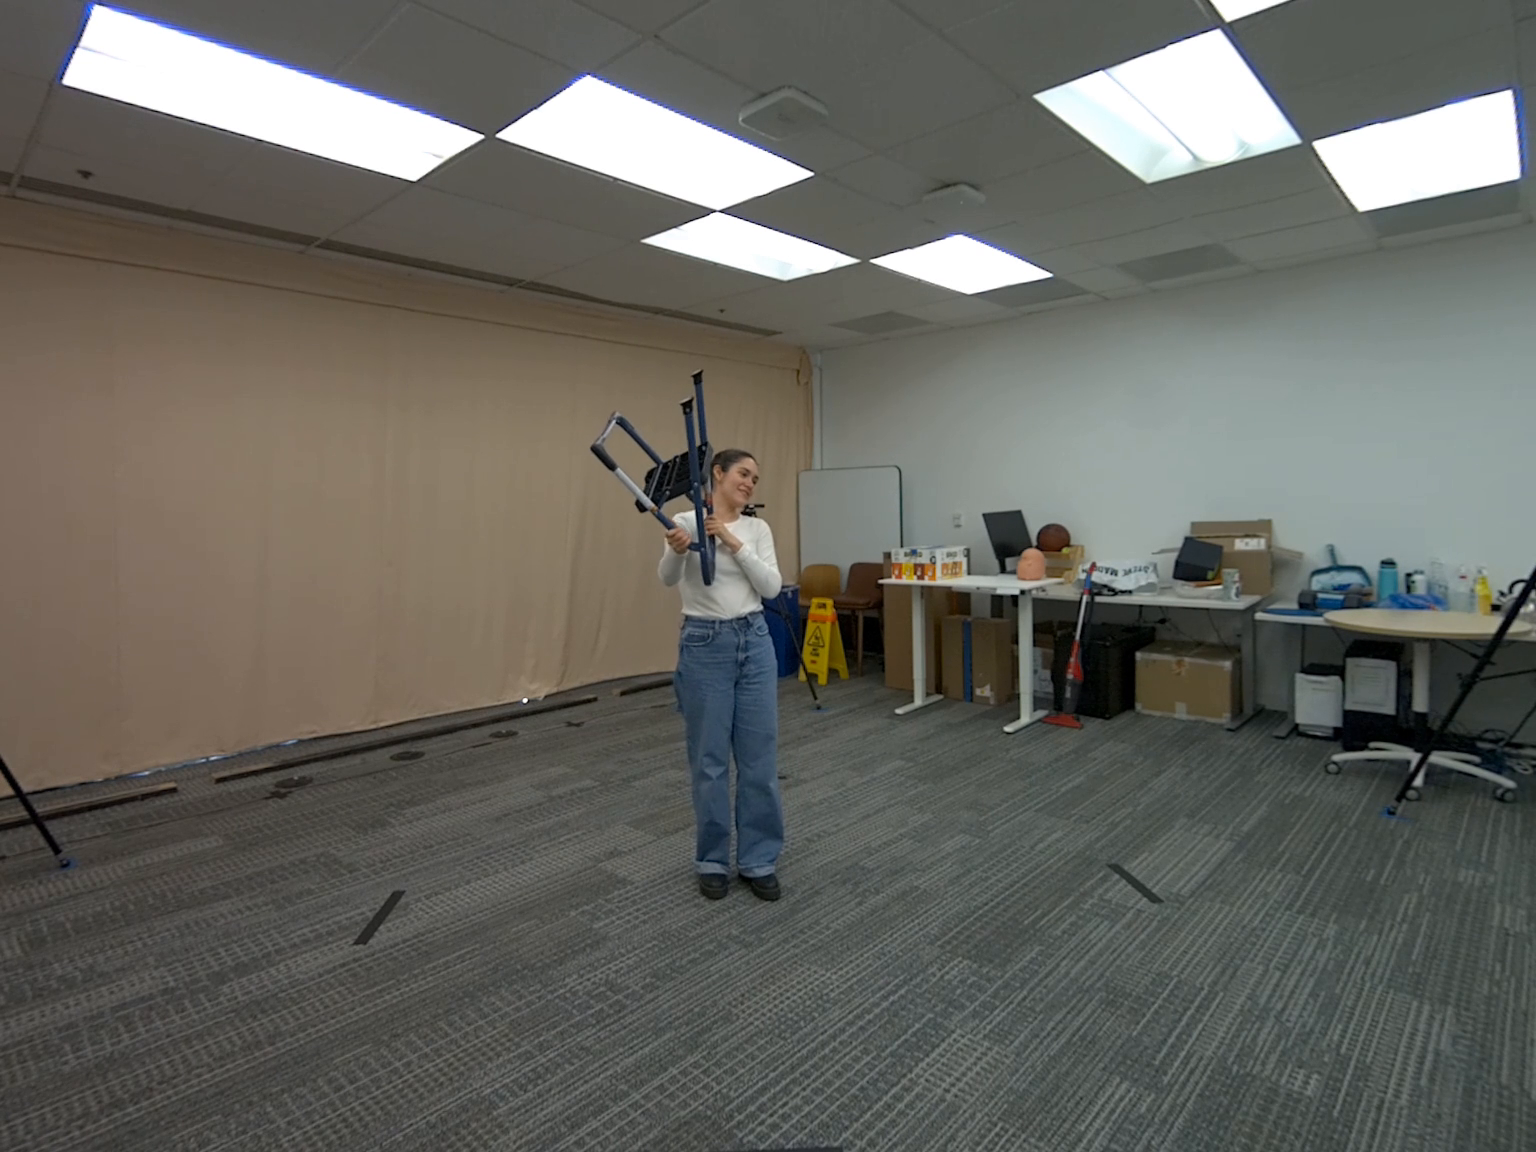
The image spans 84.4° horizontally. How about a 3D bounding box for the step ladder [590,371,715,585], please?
[{"bbox_3d":[-0.246,-0.285,2.725,0.352,0.594,0.435,-24,20,12],"label":"step ladder"}]
